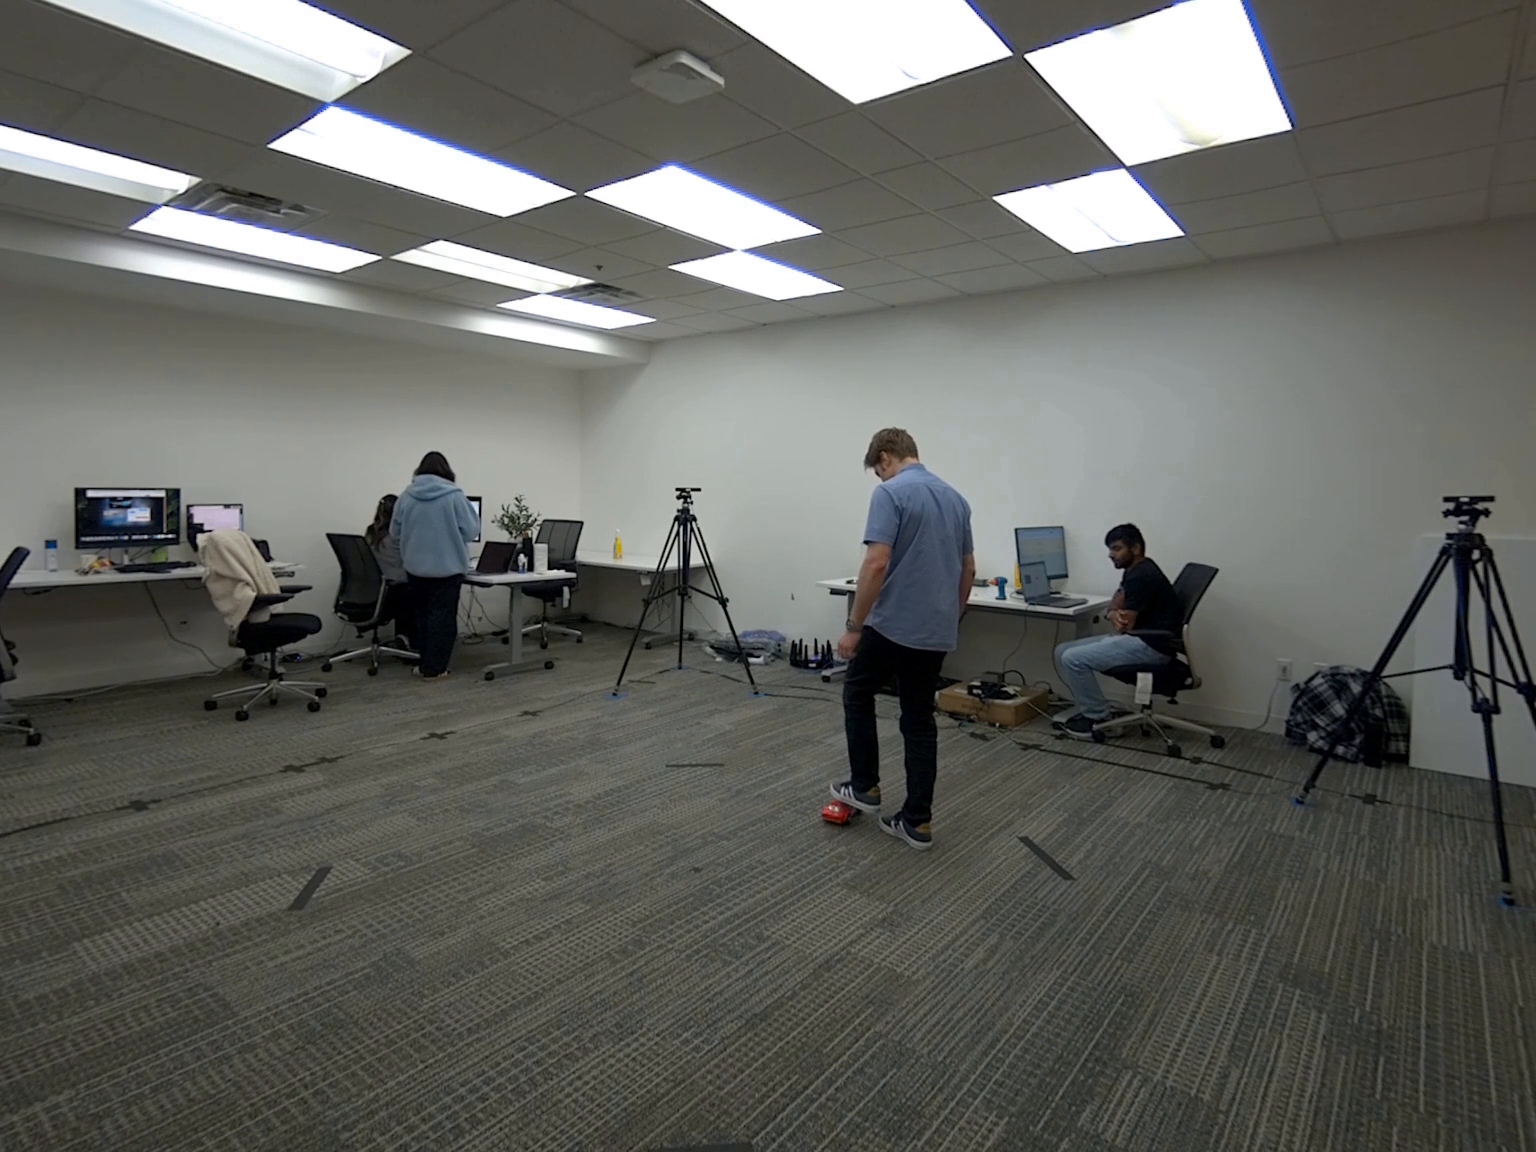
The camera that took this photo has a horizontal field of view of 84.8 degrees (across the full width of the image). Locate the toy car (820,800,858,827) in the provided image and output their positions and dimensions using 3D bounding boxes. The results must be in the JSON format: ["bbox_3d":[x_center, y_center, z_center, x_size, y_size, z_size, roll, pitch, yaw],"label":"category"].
[{"bbox_3d":[0.306,0.998,3.628,0.134,0.083,0.246,5,-5,29],"label":"toy car"}]
